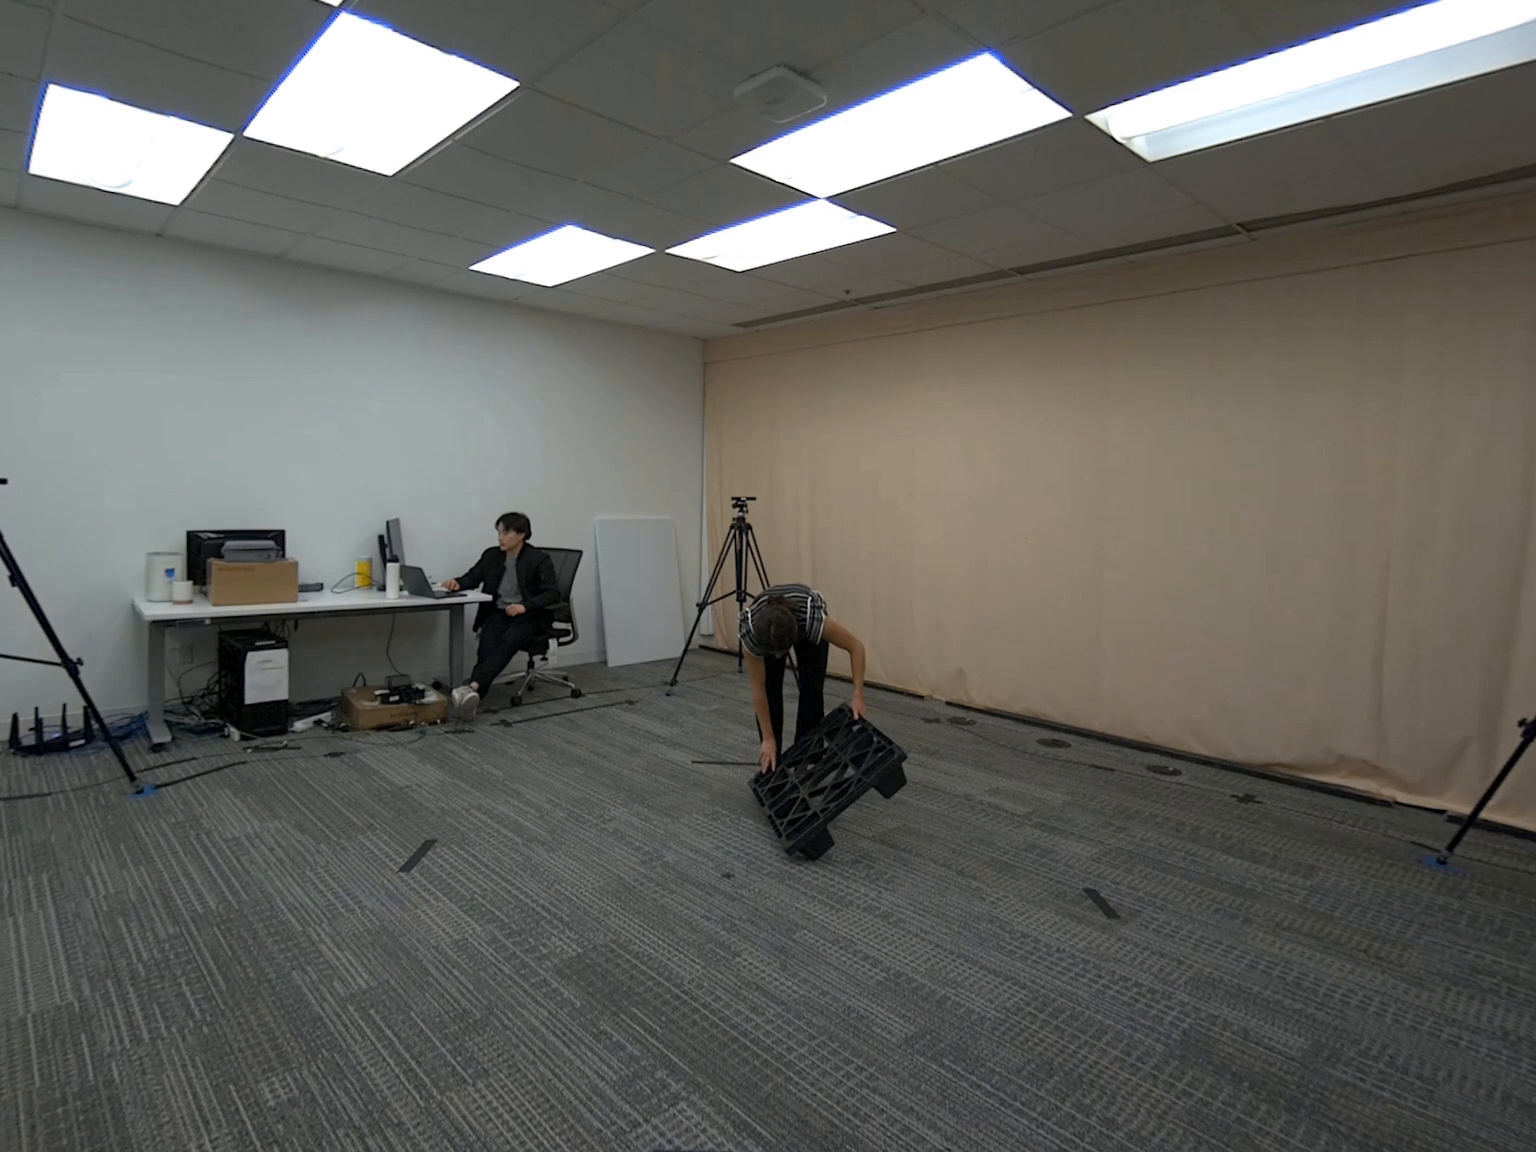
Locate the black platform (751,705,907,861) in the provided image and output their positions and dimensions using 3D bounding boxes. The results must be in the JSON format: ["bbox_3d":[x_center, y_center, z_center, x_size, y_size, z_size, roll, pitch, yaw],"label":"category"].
[{"bbox_3d":[0.252,0.878,3.628,0.604,0.142,0.815,-38,12,-5],"label":"black platform"}]
